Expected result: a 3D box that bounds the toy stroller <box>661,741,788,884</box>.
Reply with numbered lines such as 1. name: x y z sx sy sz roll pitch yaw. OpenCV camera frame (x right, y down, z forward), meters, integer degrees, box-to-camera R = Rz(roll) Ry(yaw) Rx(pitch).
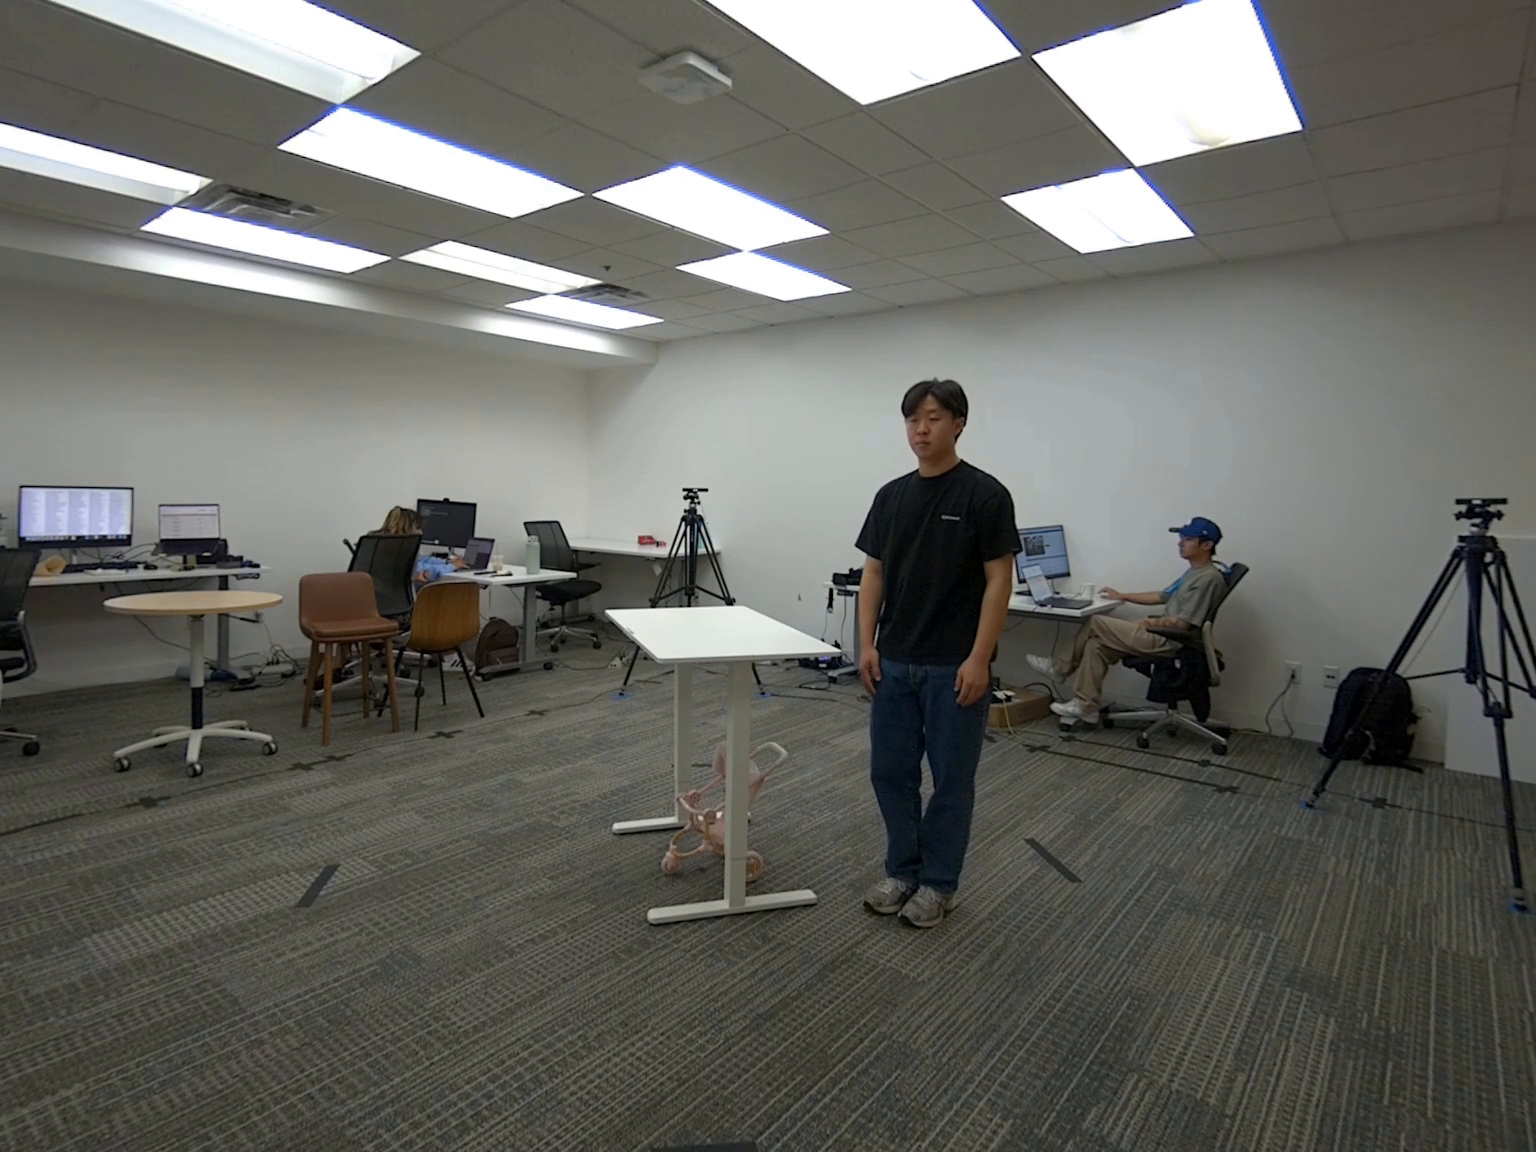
1. toy stroller: -0.181 0.845 3.109 0.335 0.535 0.286 16 0 -15
